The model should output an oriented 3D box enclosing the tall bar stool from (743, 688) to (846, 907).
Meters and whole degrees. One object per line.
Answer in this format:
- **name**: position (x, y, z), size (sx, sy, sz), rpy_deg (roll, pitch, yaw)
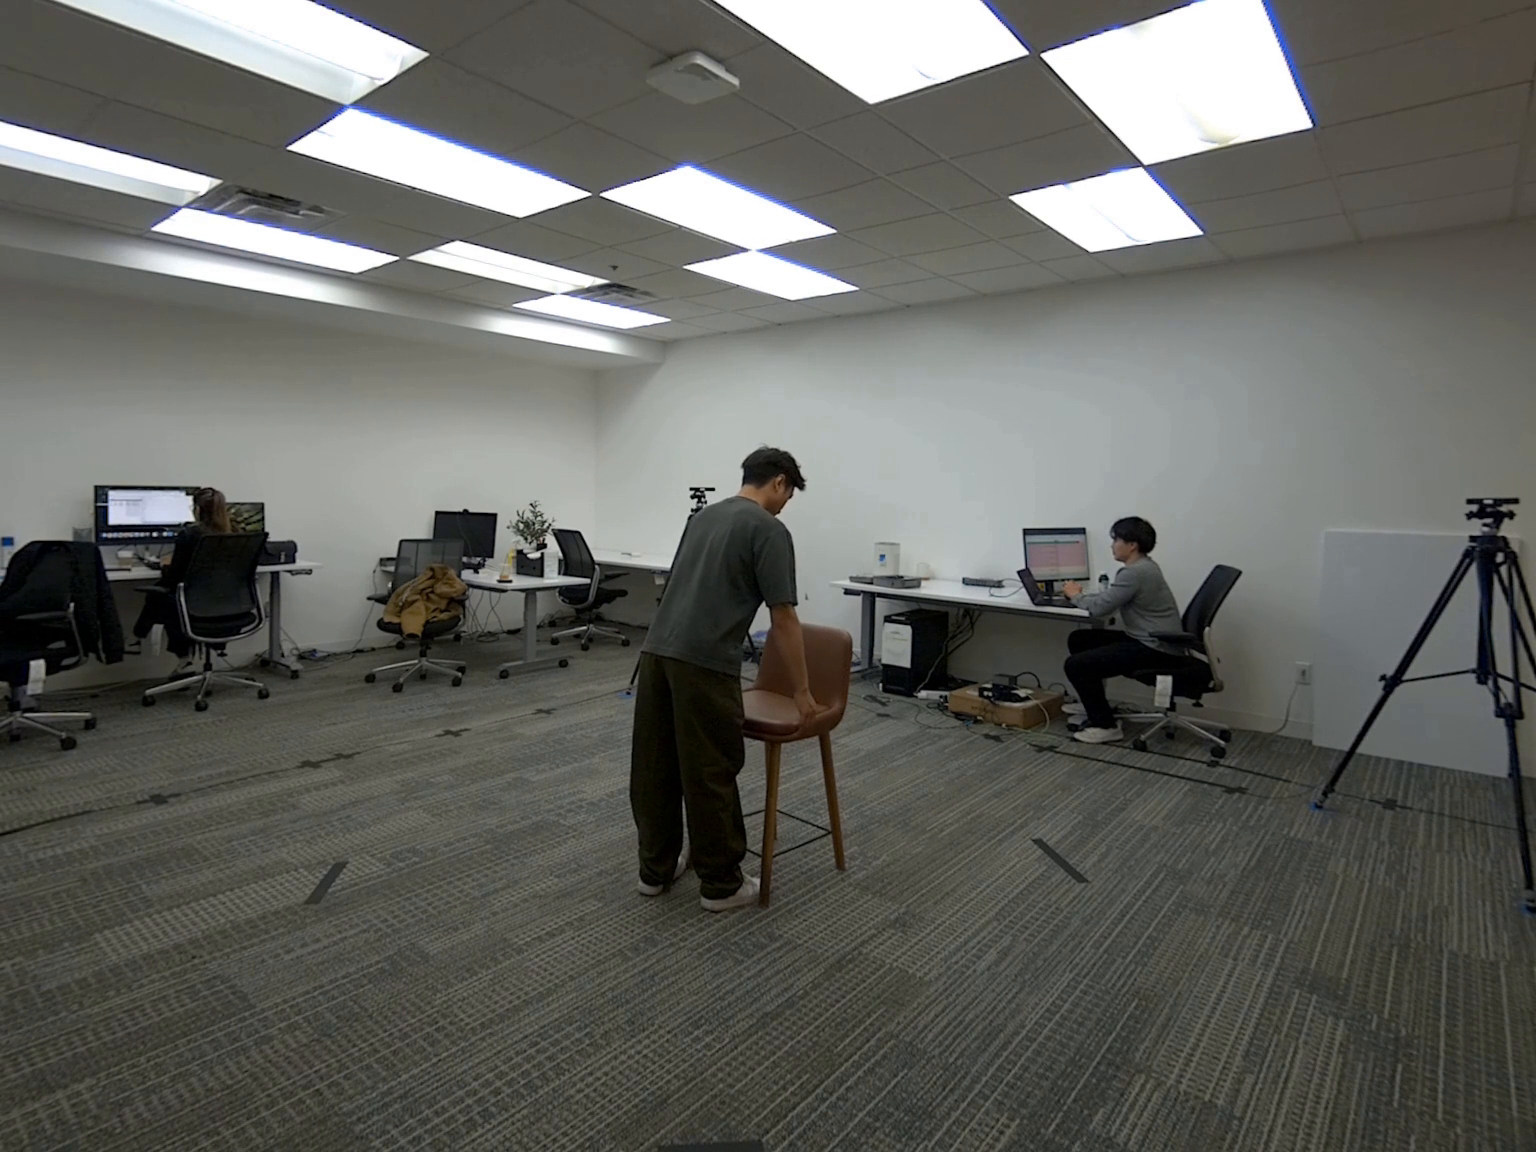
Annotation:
- **tall bar stool**: position (-0.004, 0.627, 3.103), size (0.452, 0.889, 0.472), rpy_deg (1, 2, -44)
